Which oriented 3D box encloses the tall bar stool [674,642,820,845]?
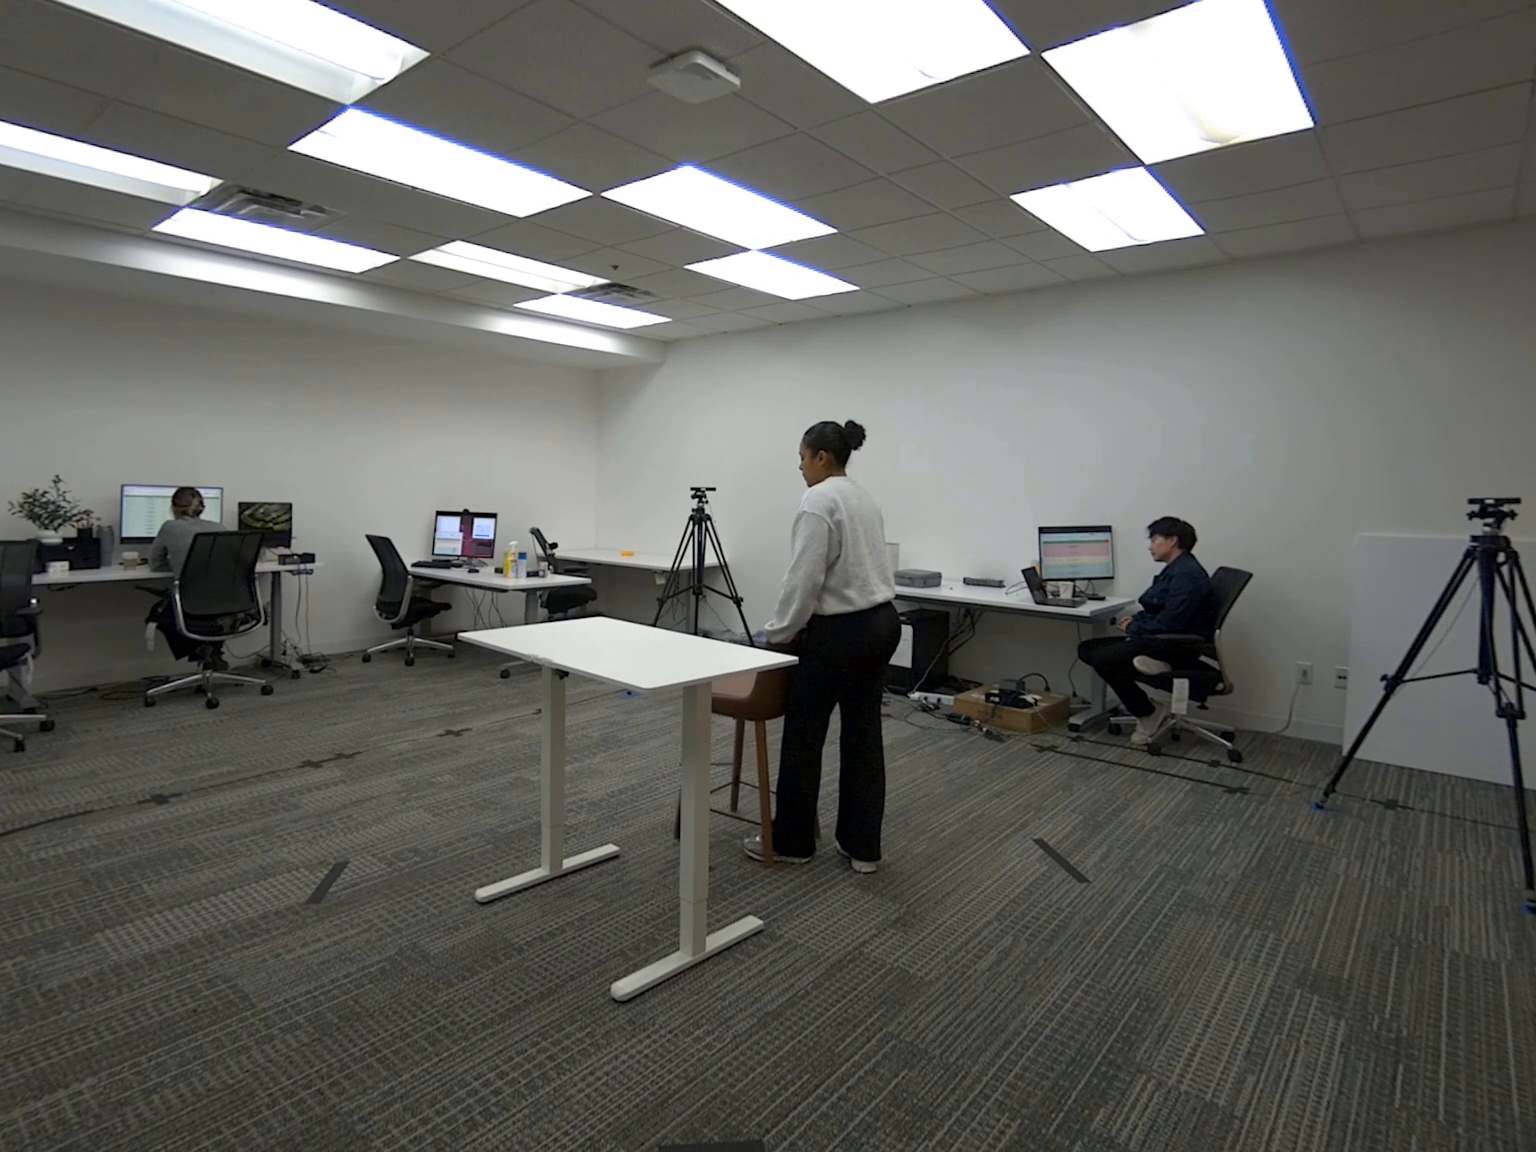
[{"bbox_3d":[-0.072,0.605,3.379,0.483,0.886,0.443,6,6,35],"label":"tall bar stool"}]
